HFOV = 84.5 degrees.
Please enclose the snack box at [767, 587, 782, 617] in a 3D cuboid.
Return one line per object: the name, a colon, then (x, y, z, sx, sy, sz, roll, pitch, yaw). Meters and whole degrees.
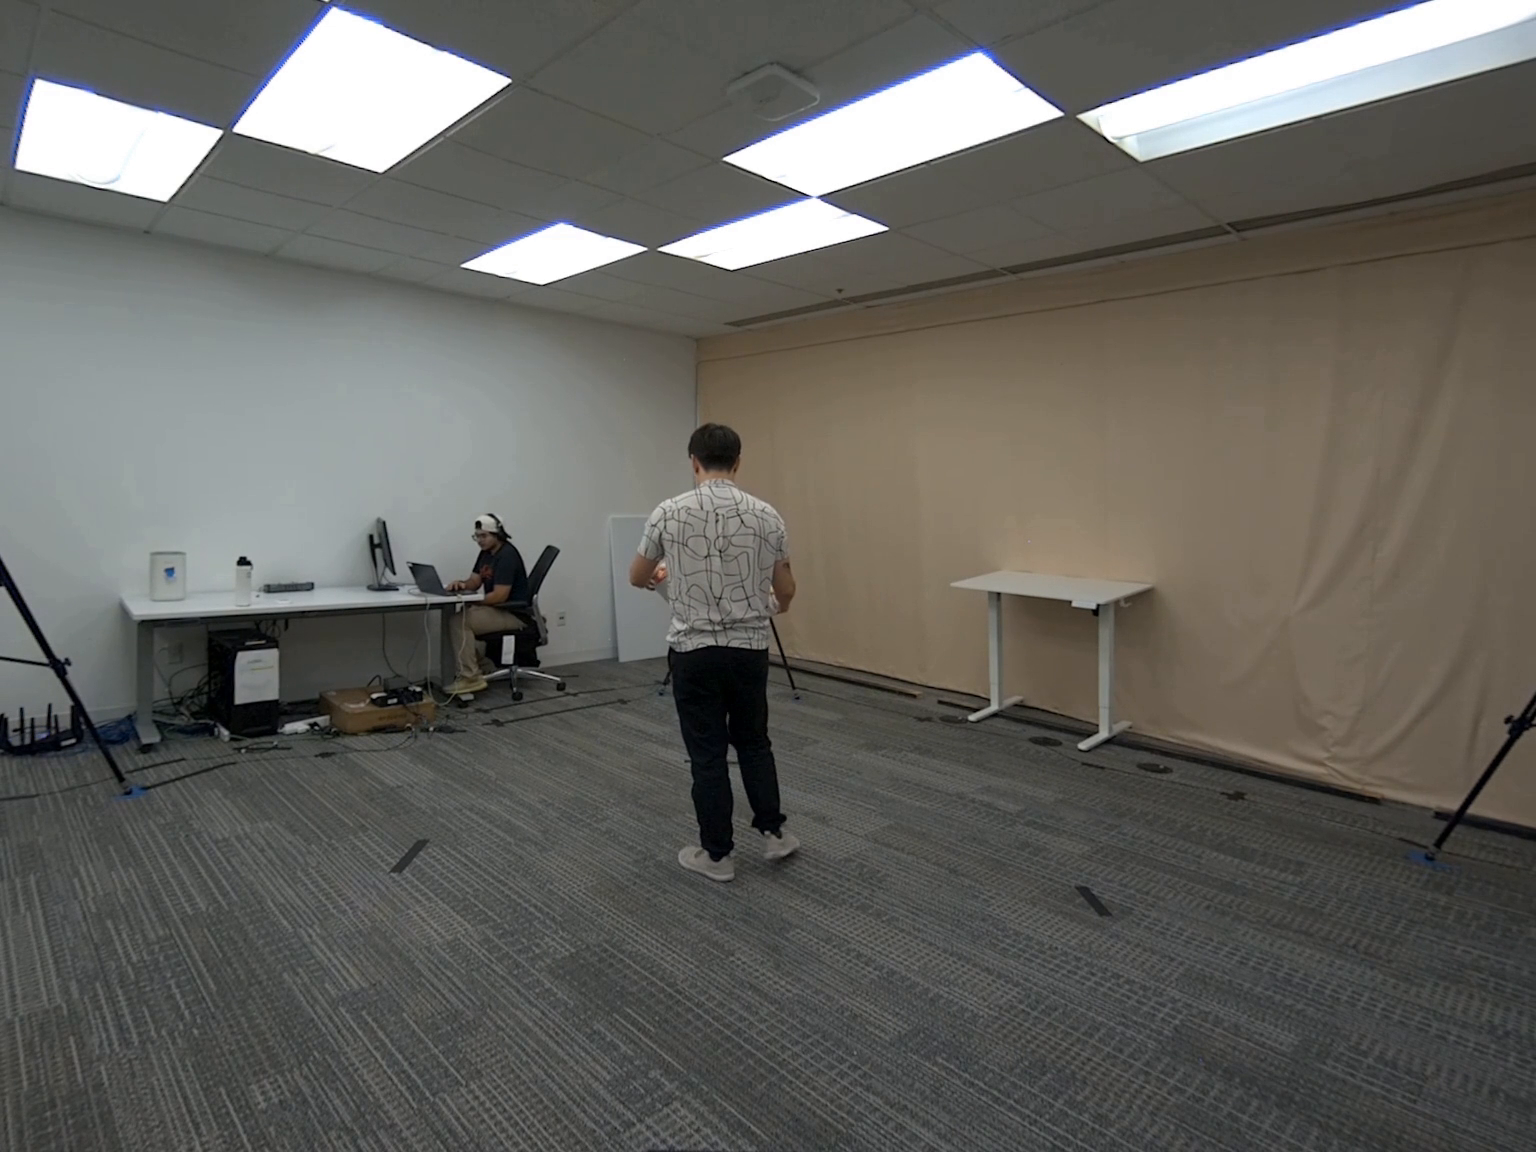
snack box: (-0.211, 0.052, 3.516, 0.342, 0.398, 0.208, -34, 17, 20)
